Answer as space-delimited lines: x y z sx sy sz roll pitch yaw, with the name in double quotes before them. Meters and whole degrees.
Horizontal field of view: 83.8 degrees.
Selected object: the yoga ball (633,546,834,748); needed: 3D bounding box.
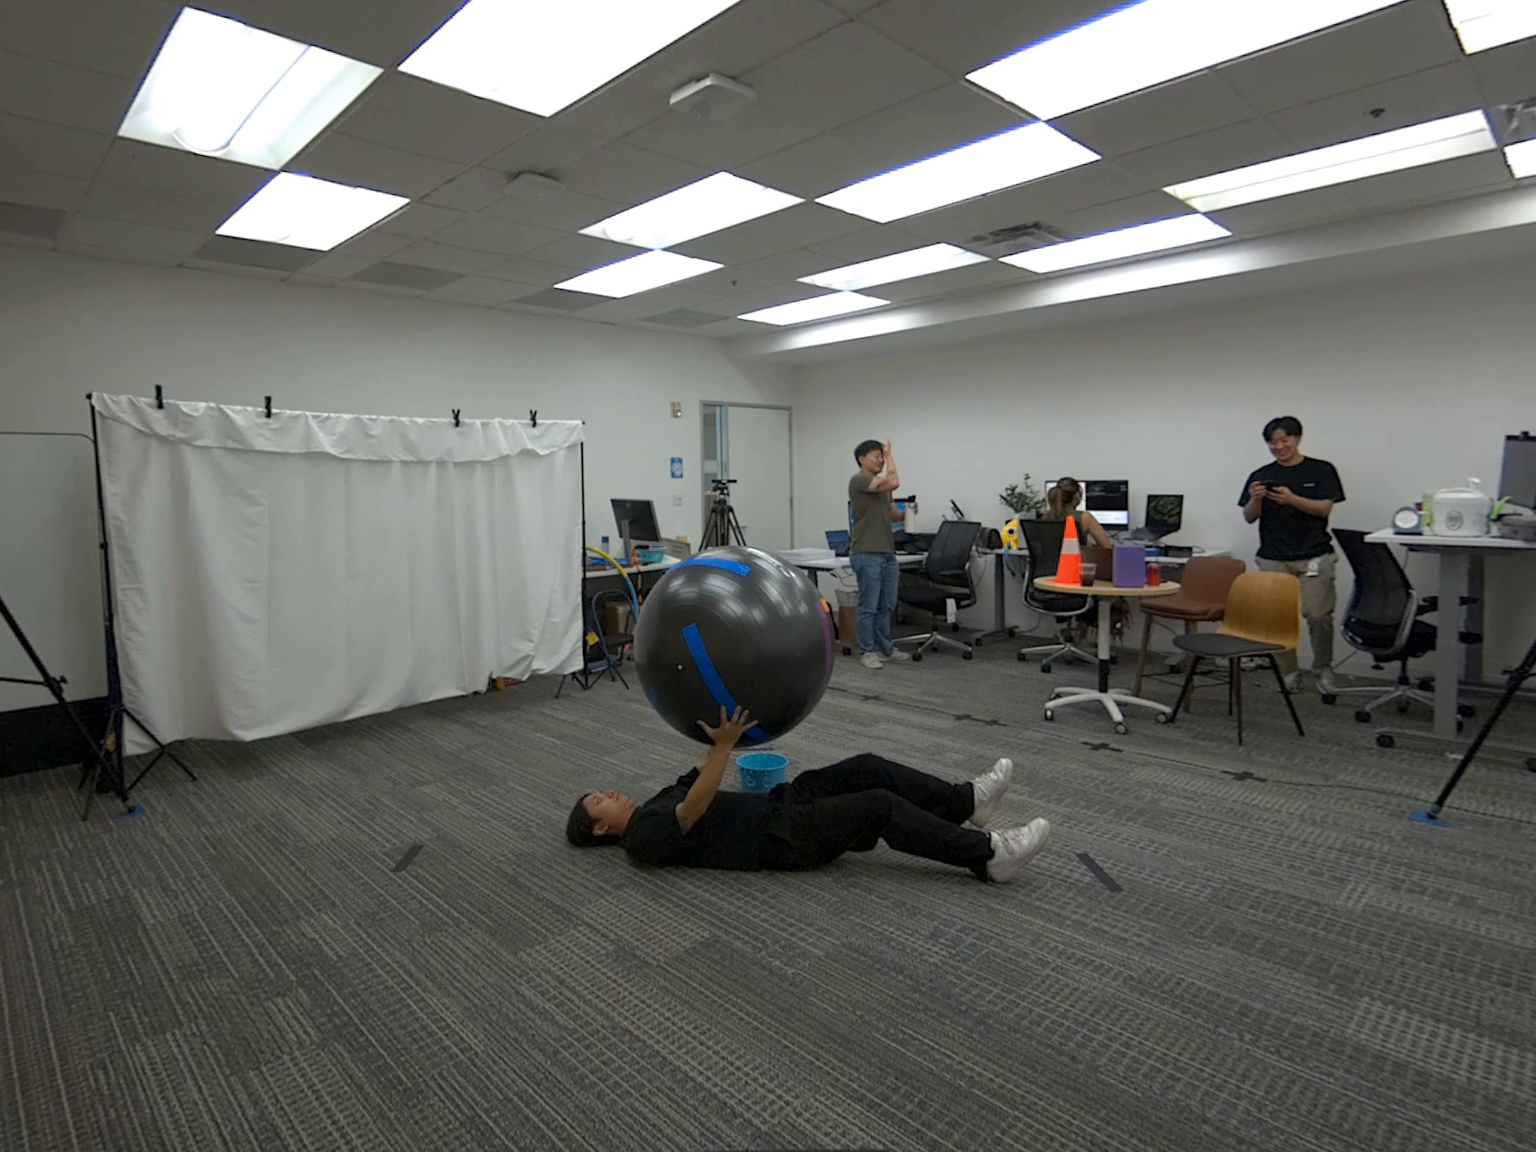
"yoga ball" -0.131 0.268 3.239 0.757 0.755 0.762 -1 5 -2
